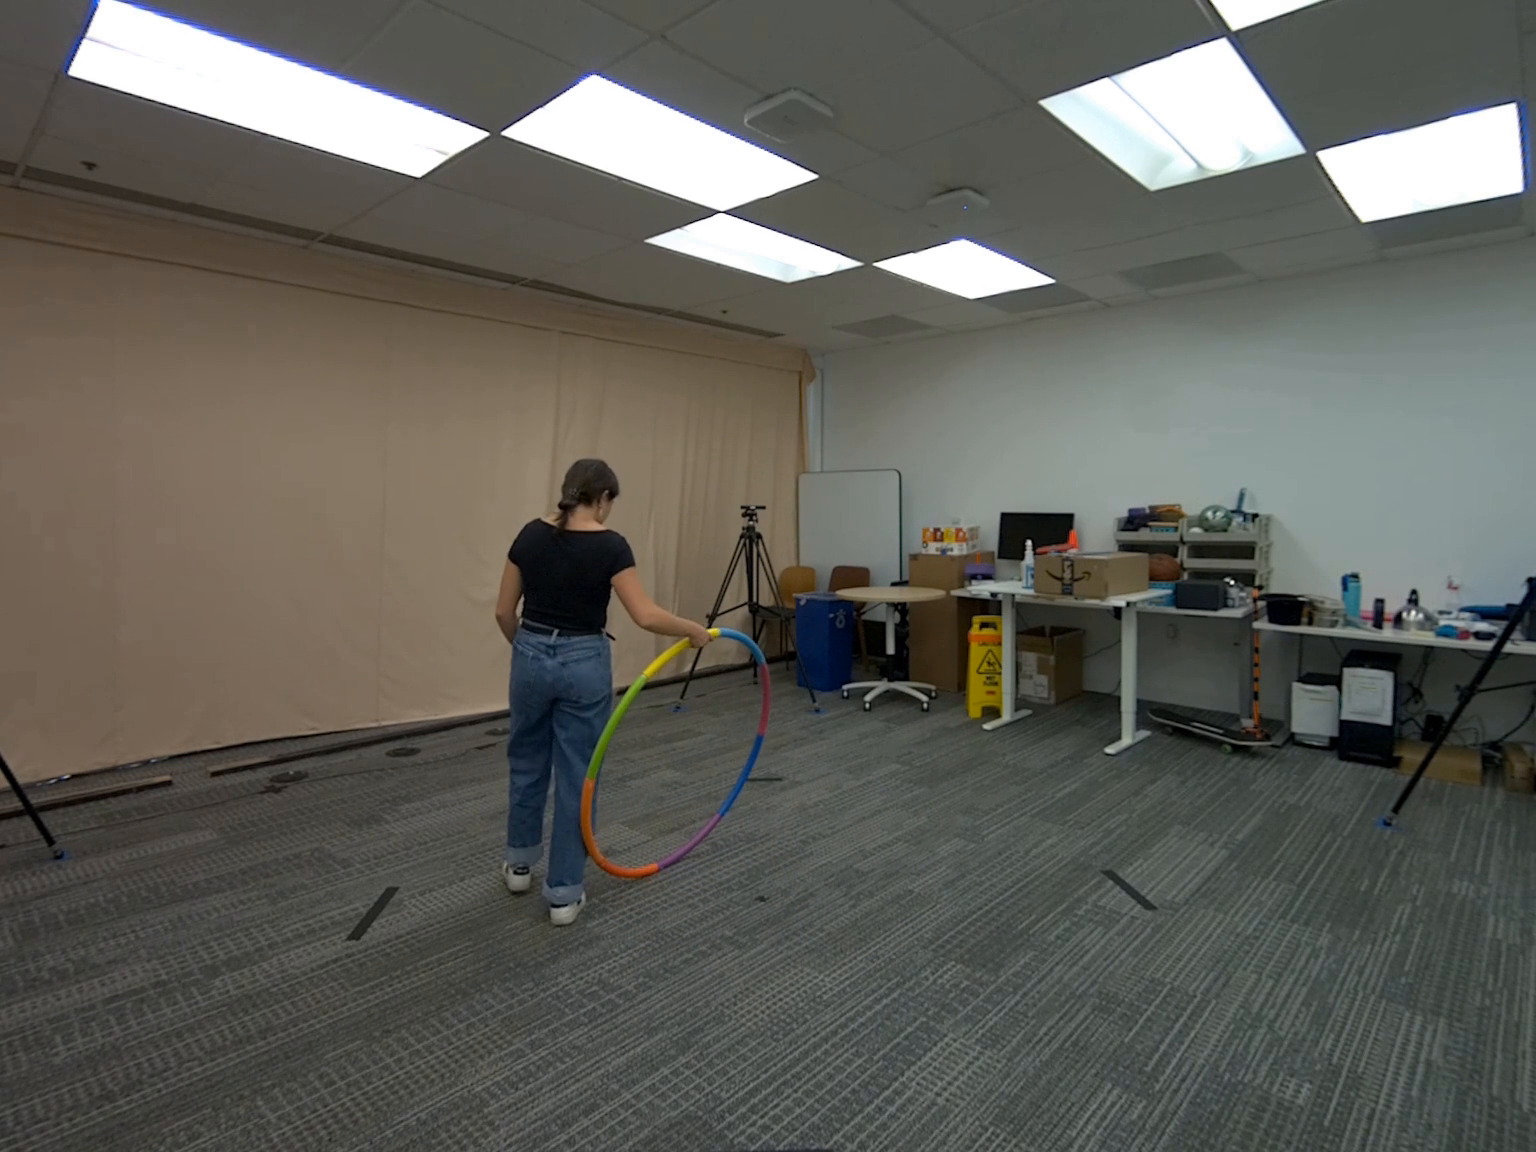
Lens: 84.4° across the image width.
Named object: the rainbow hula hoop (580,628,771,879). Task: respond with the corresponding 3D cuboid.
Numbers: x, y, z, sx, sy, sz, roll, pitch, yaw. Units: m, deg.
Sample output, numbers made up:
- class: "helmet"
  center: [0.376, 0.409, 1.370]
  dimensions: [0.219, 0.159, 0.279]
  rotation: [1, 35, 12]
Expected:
- class: "rainbow hula hoop"
  center: [-0.295, 0.662, 3.132]
  dimensions: [0.037, 0.974, 0.950]
  rotation: [22, 16, 33]
